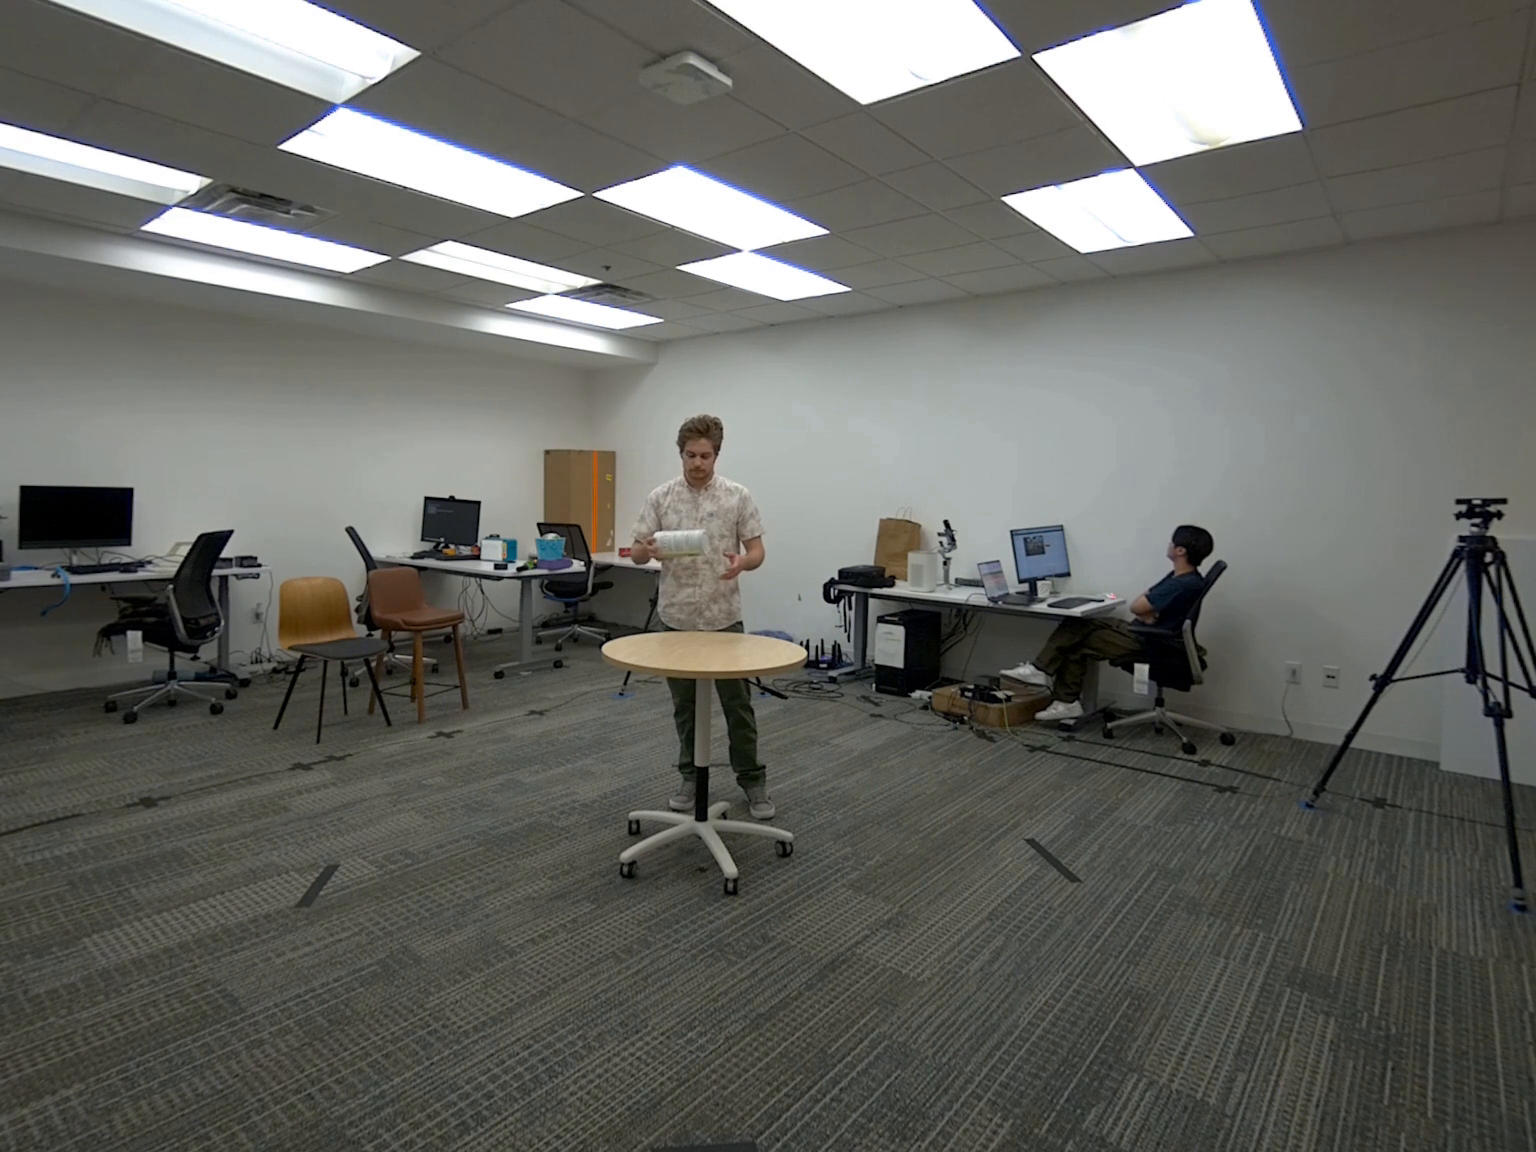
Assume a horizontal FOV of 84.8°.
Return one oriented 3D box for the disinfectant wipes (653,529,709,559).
[{"bbox_3d":[-0.363,-0.138,3.460,0.221,0.117,0.116,-3,3,17],"label":"disinfectant wipes"}]
